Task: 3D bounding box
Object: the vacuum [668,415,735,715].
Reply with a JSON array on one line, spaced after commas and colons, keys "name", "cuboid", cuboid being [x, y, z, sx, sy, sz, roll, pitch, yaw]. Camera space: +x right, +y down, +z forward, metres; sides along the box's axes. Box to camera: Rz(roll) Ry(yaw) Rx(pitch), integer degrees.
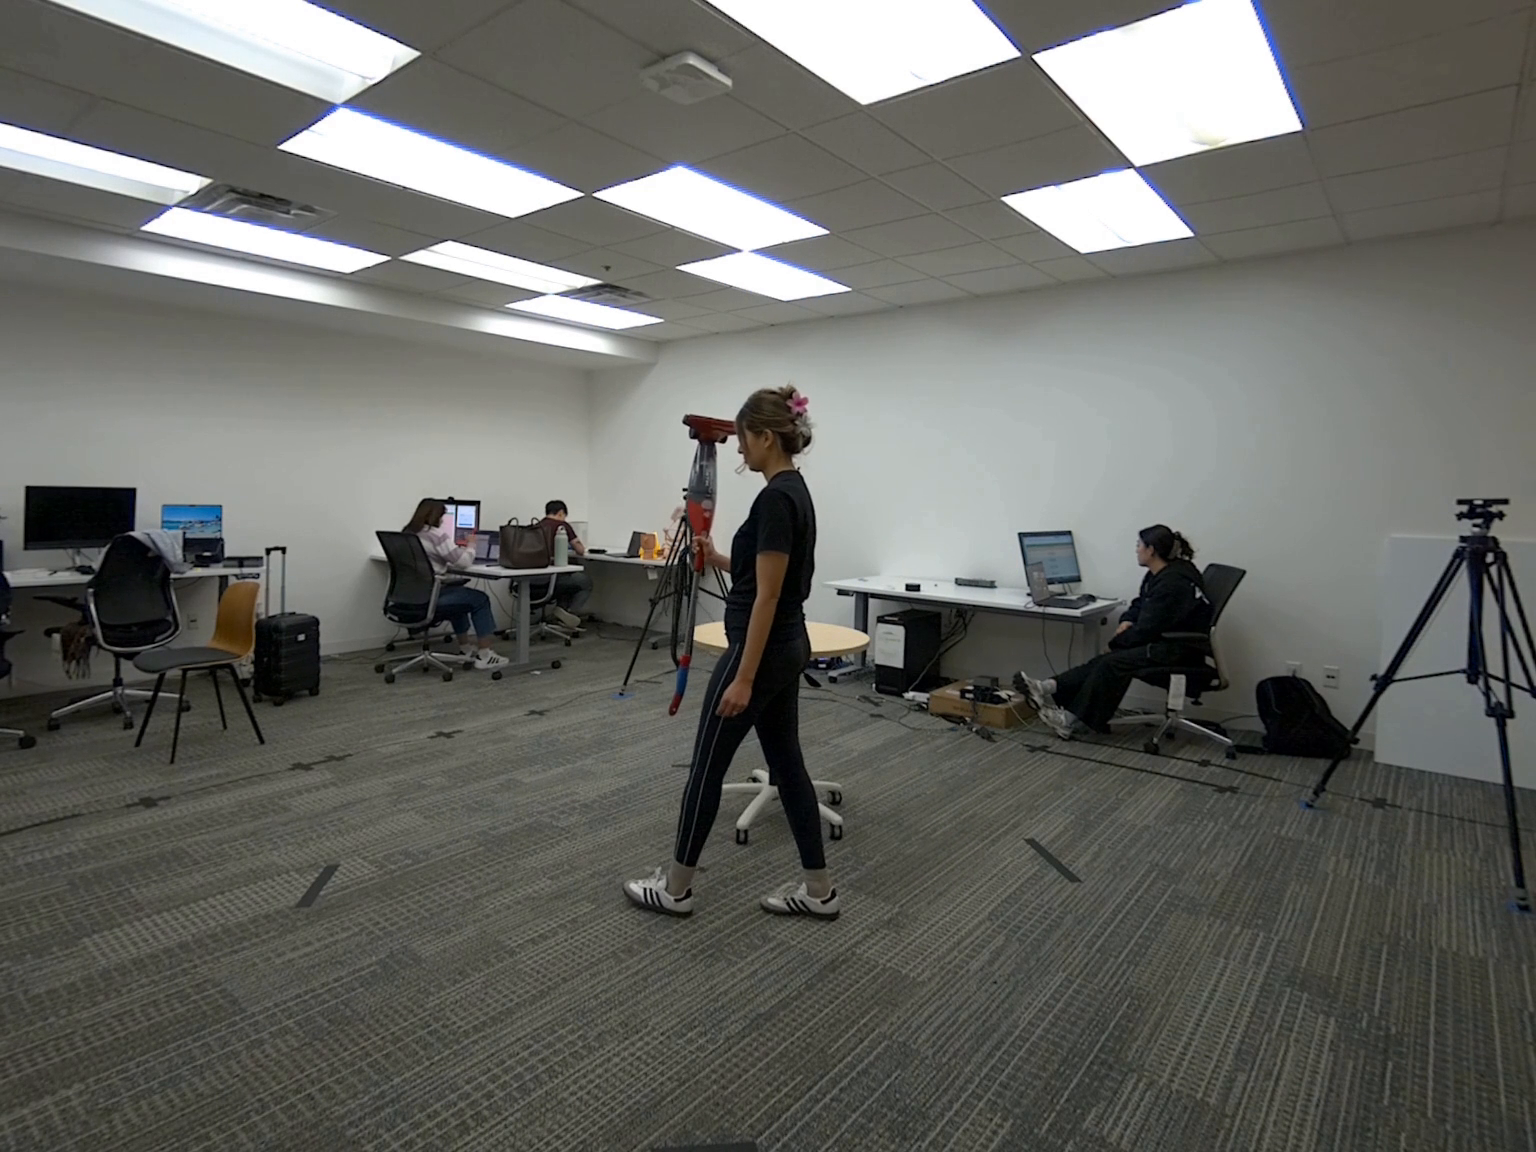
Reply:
[{"name": "vacuum", "cuboid": [-0.277, -0.022, 3.029, 0.245, 1.045, 0.149, 6, 5, -29]}]
